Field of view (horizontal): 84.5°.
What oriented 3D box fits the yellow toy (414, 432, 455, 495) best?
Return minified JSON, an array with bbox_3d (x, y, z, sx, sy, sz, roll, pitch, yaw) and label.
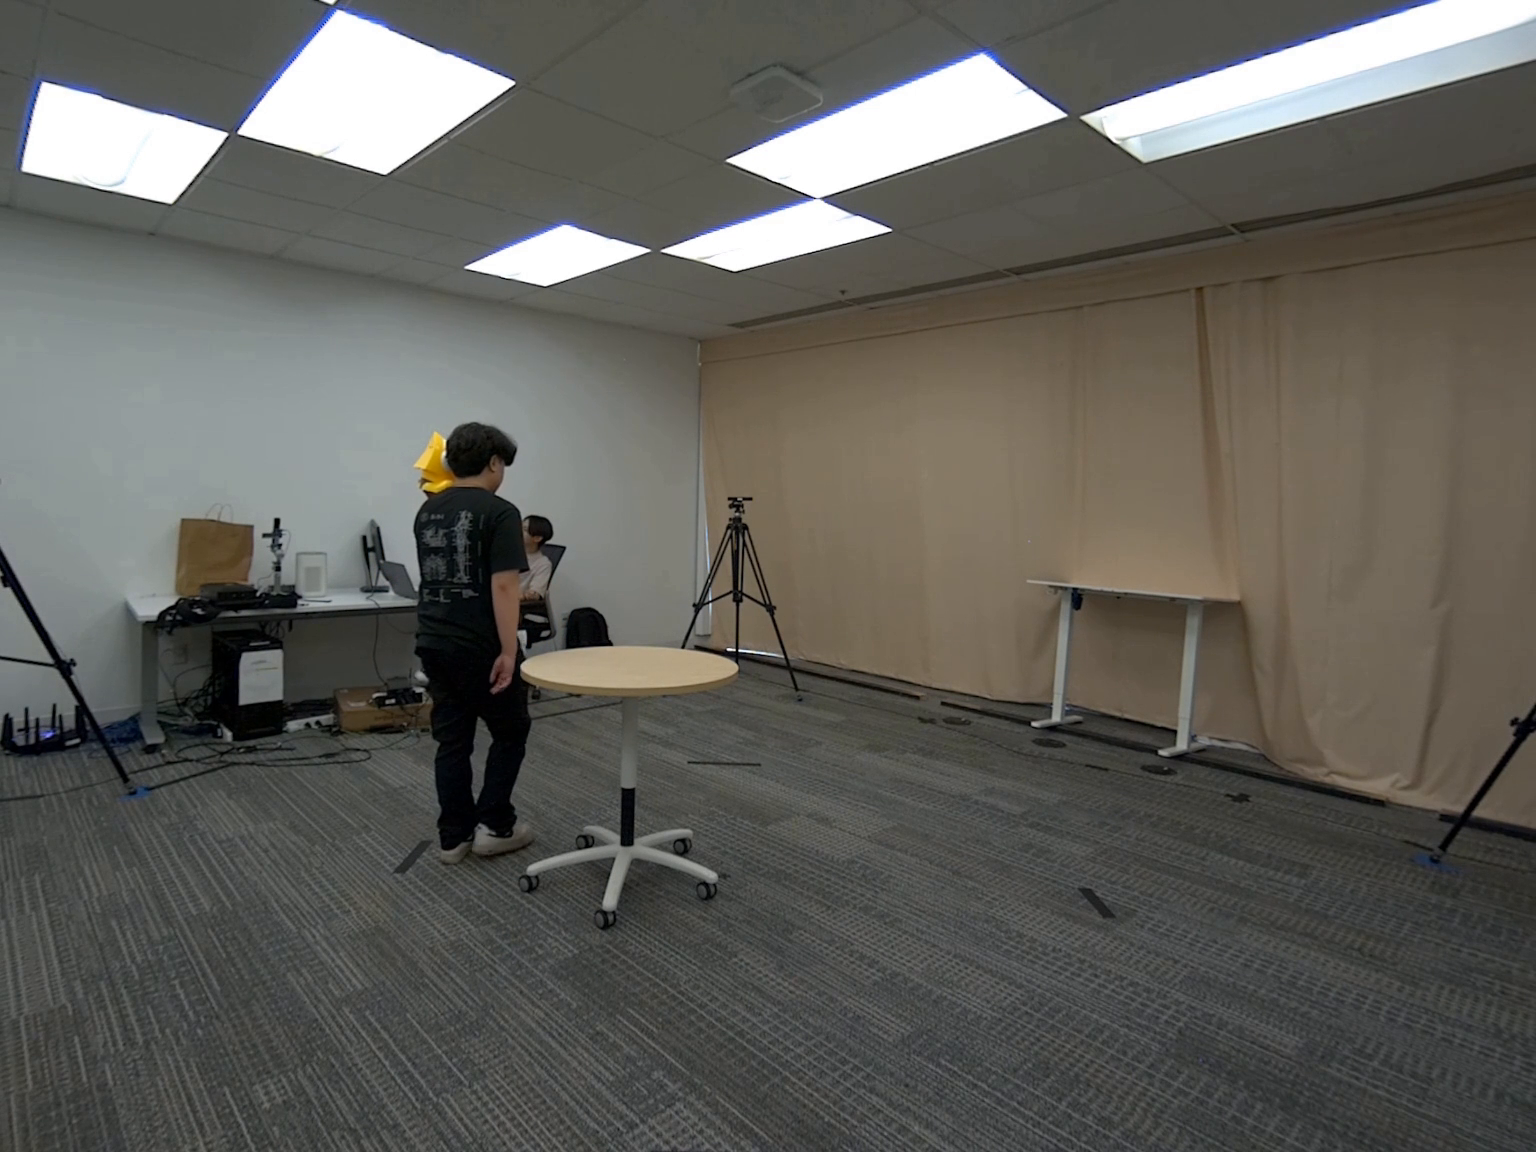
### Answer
[{"bbox_3d":[-1.274,-0.440,3.315,0.188,0.230,0.210,12,1,-34],"label":"yellow toy"}]
